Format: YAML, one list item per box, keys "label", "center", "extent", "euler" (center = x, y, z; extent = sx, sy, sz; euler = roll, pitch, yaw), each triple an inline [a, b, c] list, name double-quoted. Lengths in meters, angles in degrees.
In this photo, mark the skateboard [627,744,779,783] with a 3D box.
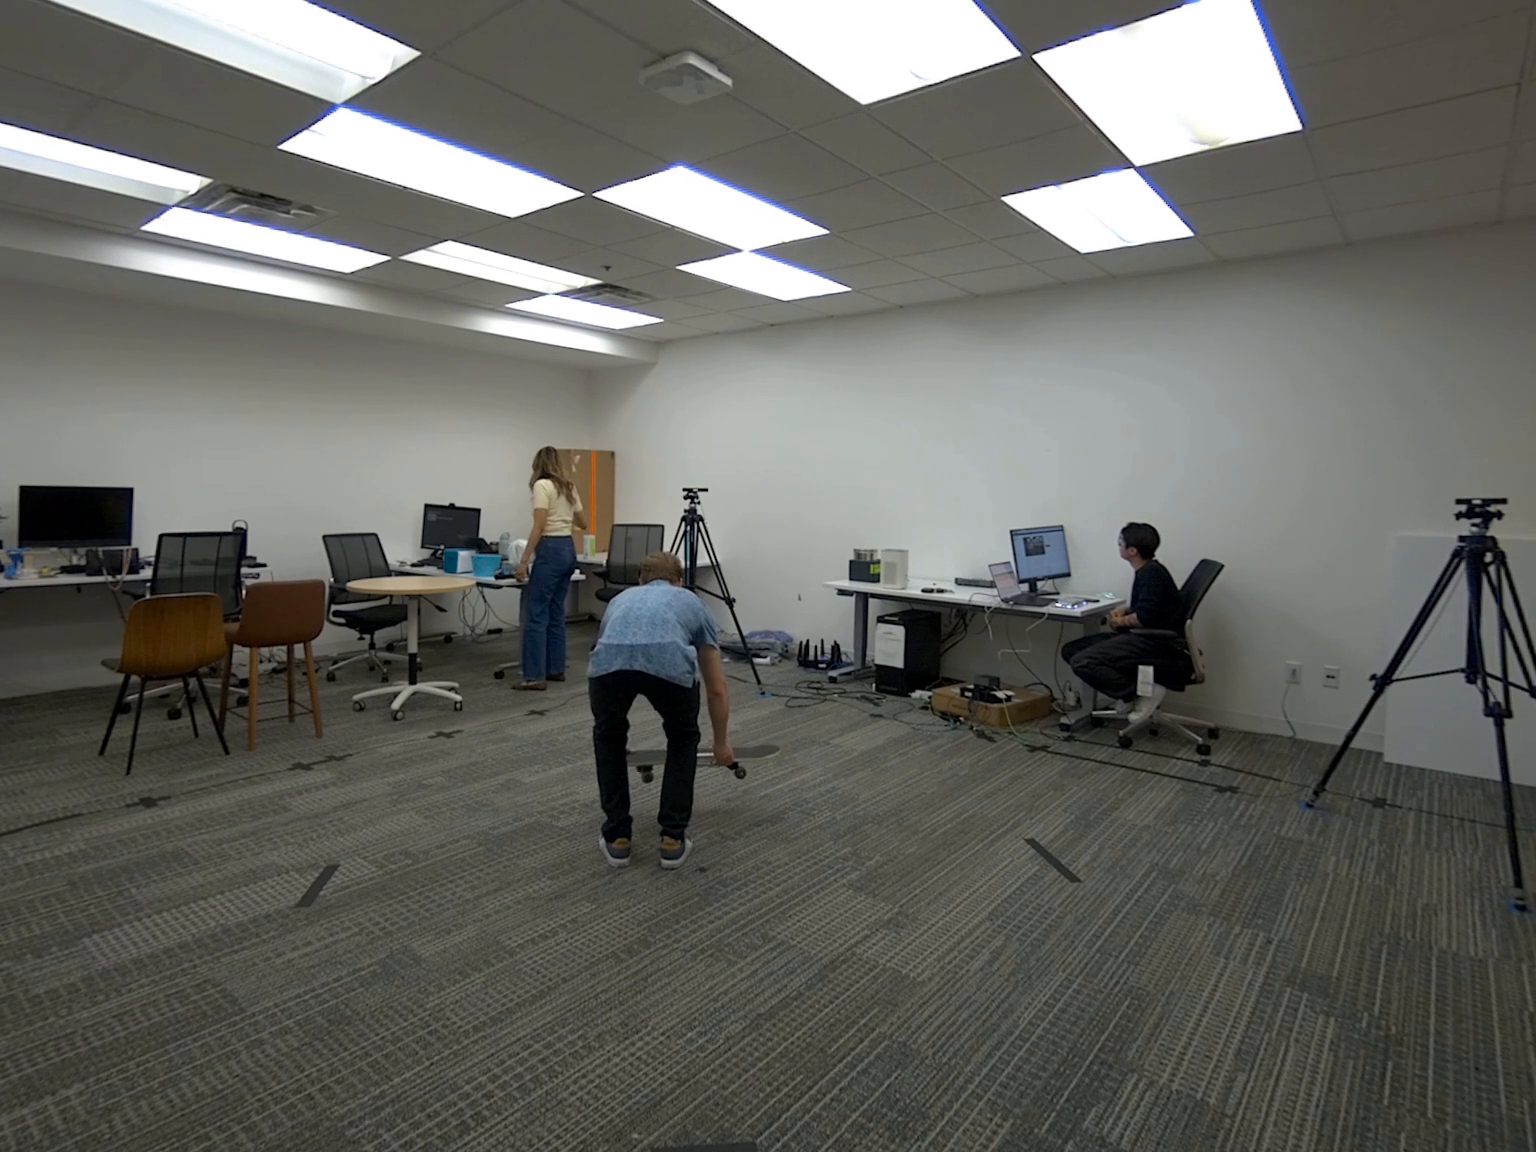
- label: "skateboard"
  center: [-0.341, 0.789, 3.621]
  extent: [0.774, 0.110, 0.196]
  euler: [1, 2, -14]
